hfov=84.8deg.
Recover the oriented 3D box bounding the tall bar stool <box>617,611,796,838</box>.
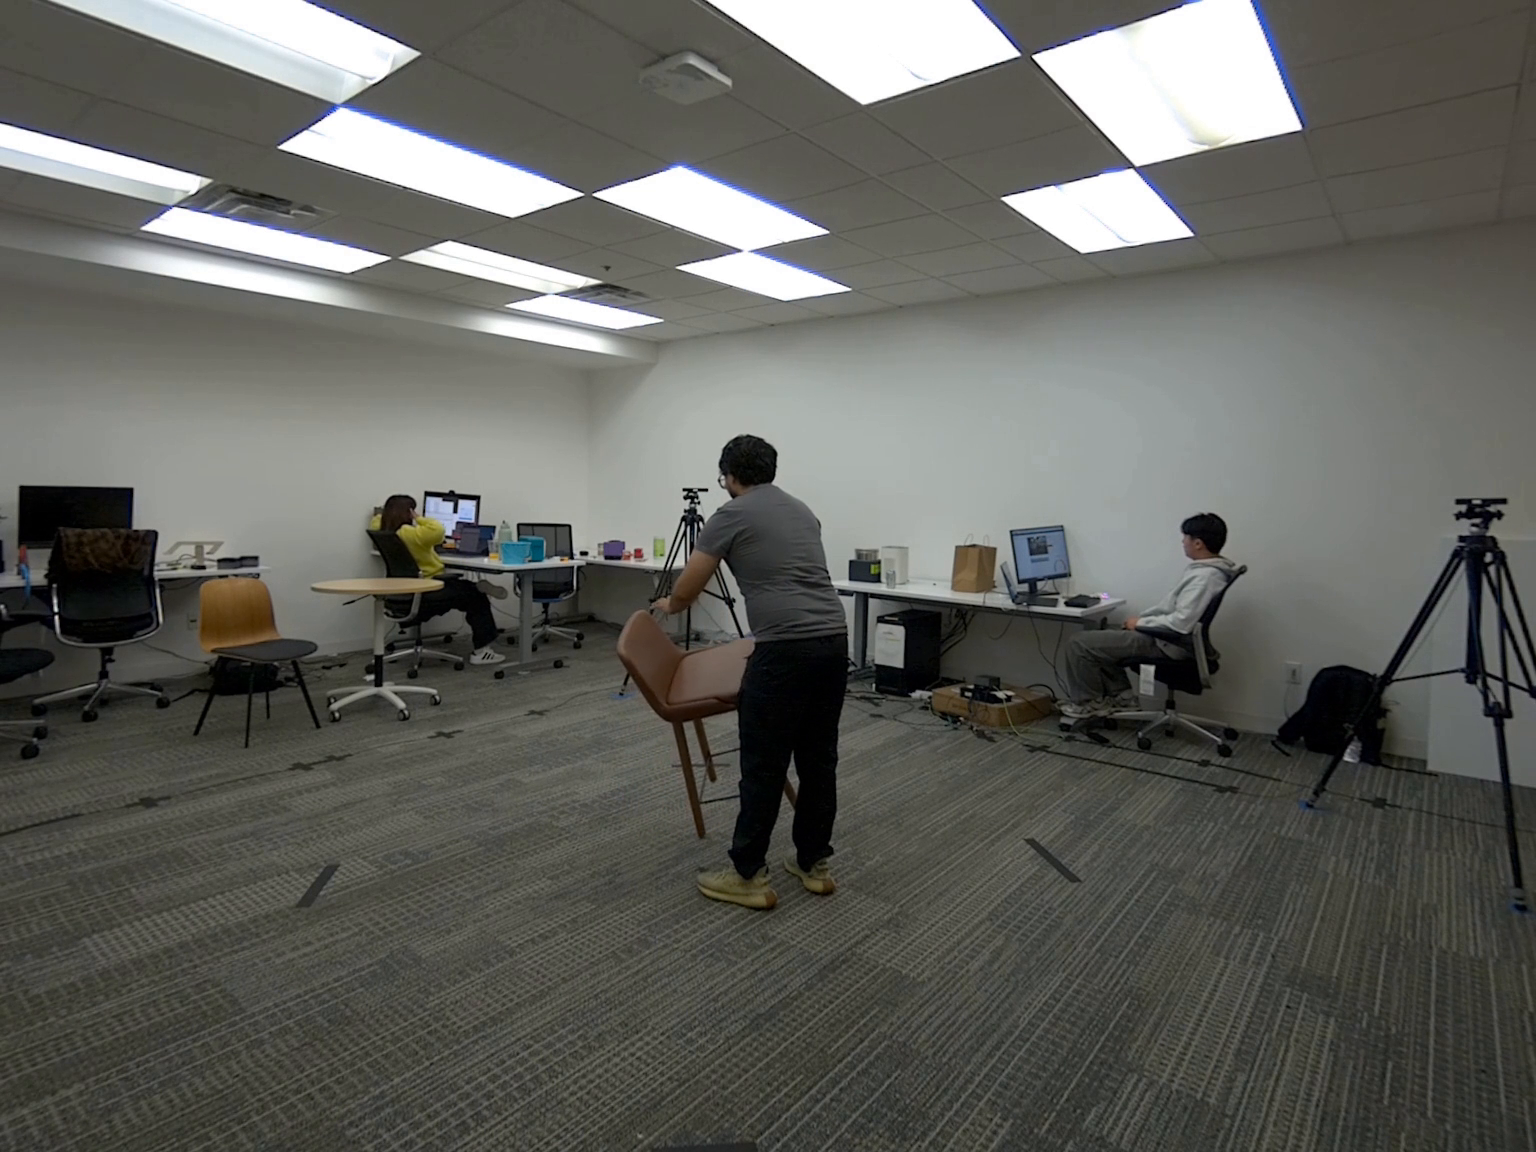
[{"bbox_3d":[-0.206,0.537,3.392,0.472,0.870,0.462,-17,19,14],"label":"tall bar stool"}]
